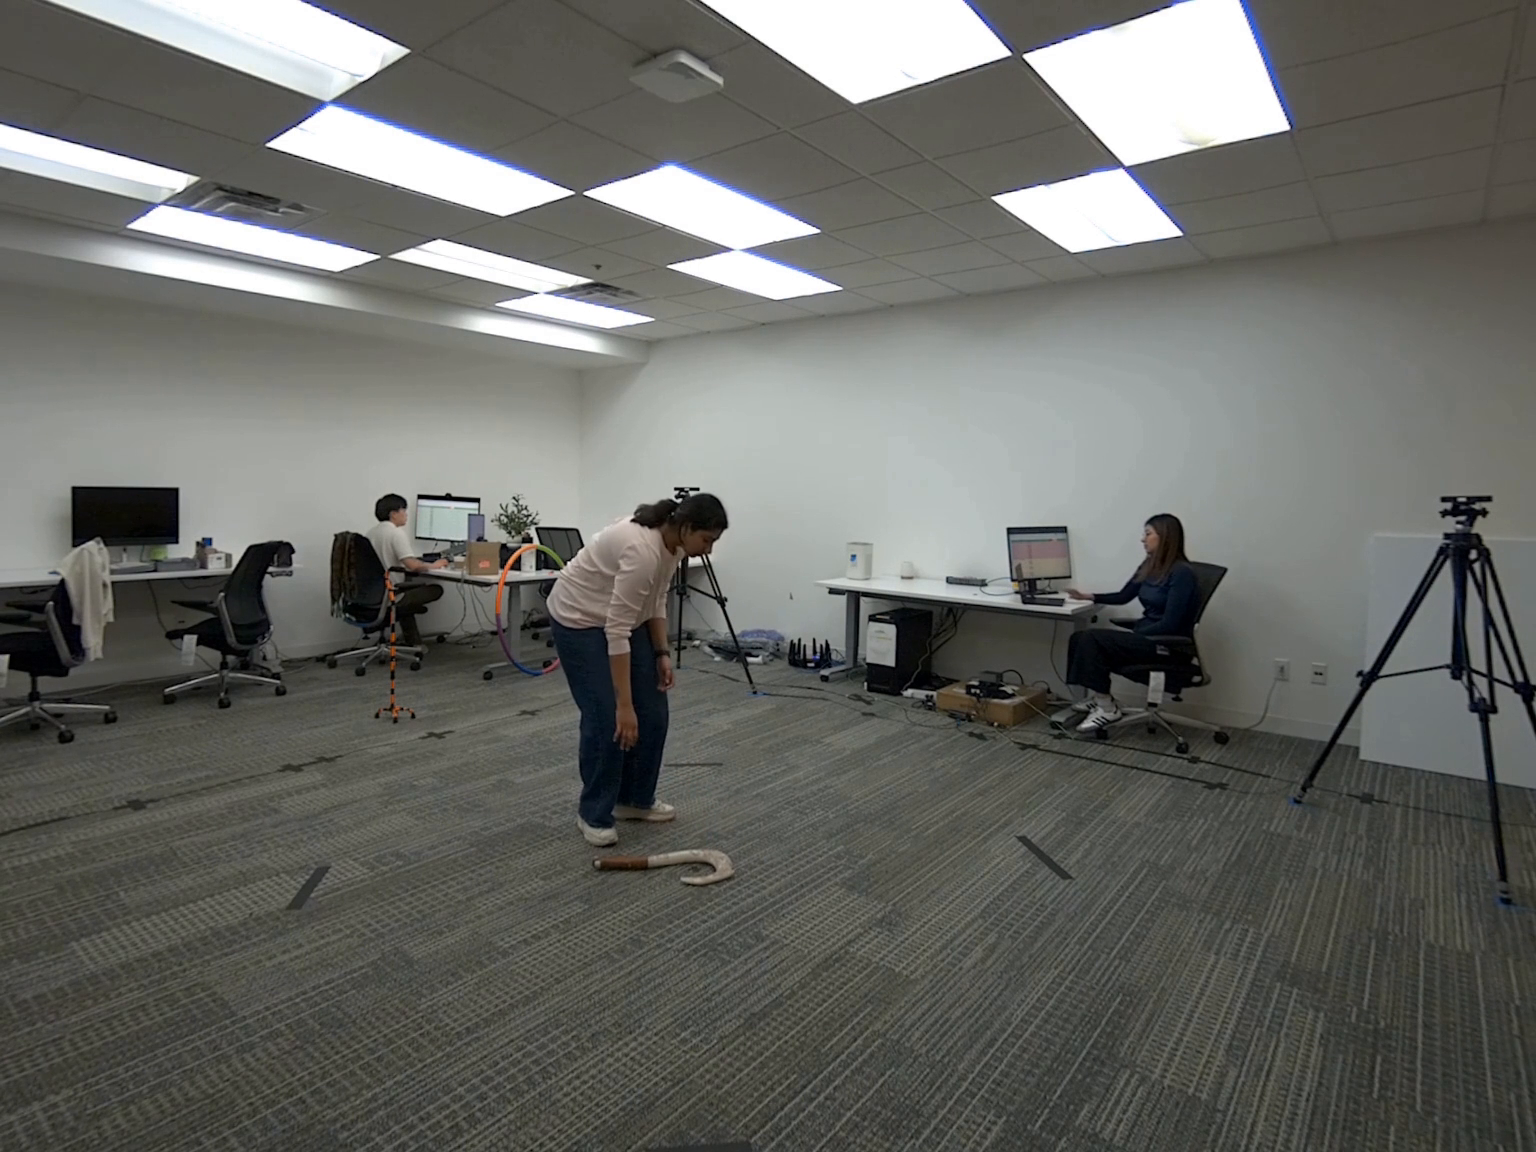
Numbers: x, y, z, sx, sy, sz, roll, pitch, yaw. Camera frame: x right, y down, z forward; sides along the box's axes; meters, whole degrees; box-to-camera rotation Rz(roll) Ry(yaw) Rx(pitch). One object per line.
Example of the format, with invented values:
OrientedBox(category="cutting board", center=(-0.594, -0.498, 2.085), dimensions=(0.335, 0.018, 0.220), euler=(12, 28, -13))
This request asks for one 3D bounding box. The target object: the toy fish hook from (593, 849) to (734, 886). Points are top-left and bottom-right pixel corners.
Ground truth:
OrientedBox(category="toy fish hook", center=(-0.387, 1.046, 3.059), dimensions=(0.502, 0.048, 0.227), euler=(-1, 5, -8))
